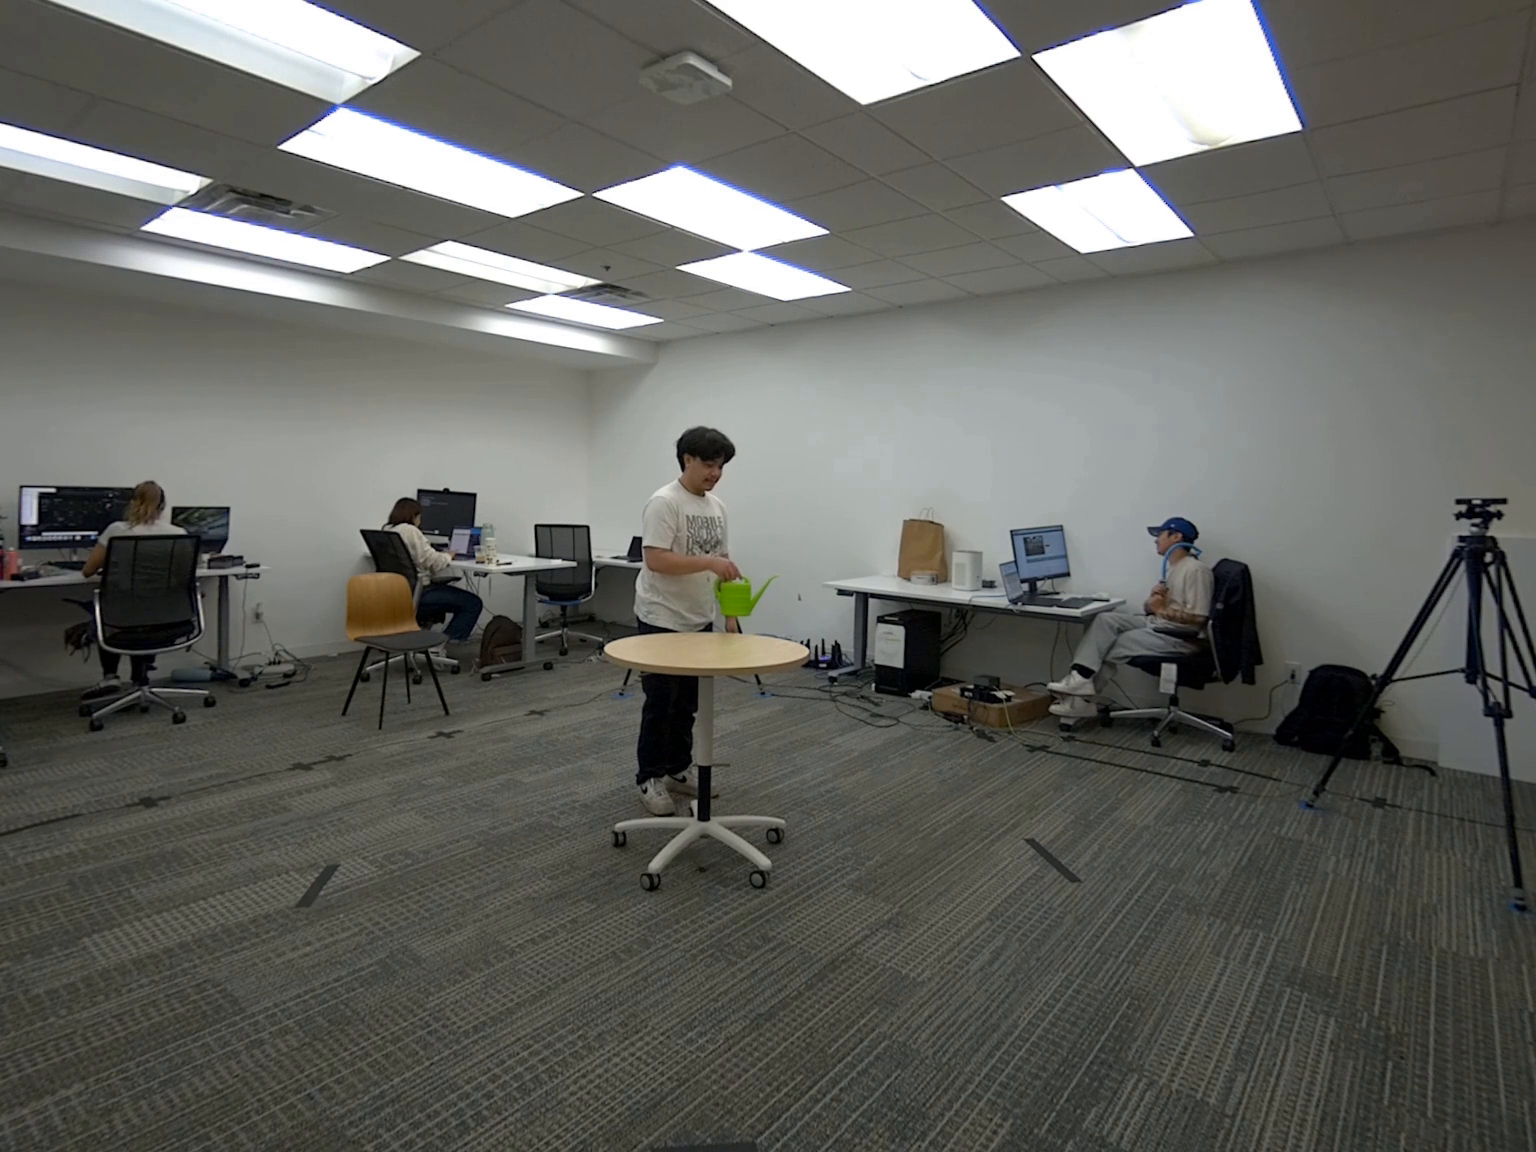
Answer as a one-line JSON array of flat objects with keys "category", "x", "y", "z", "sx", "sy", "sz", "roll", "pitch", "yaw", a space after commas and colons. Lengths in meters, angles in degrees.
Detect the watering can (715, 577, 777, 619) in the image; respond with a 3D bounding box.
[{"category": "watering can", "x": -0.103, "y": 0.081, "z": 3.578, "sx": 0.283, "sy": 0.176, "sz": 0.096, "roll": 1, "pitch": 2, "yaw": 15}]
